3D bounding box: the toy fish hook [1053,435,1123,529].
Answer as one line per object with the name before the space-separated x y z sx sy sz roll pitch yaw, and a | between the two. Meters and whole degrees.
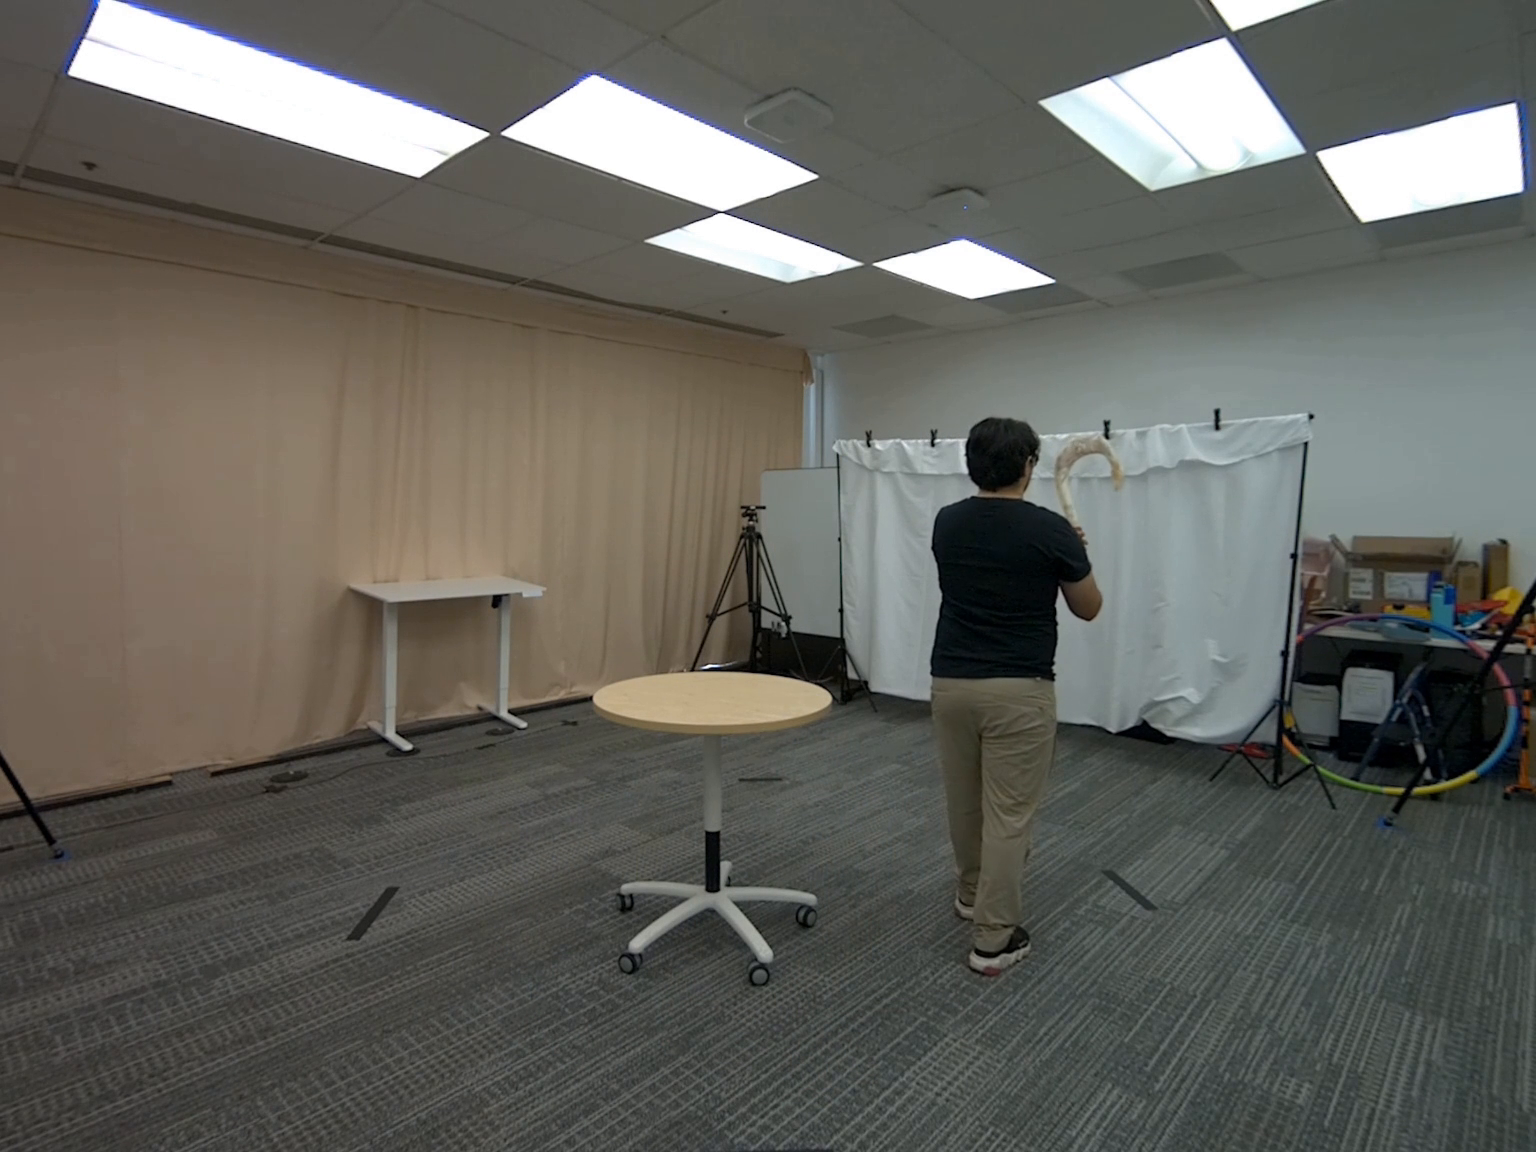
toy fish hook | 1.088 -0.220 2.824 0.047 0.508 0.231 3 -6 -41
